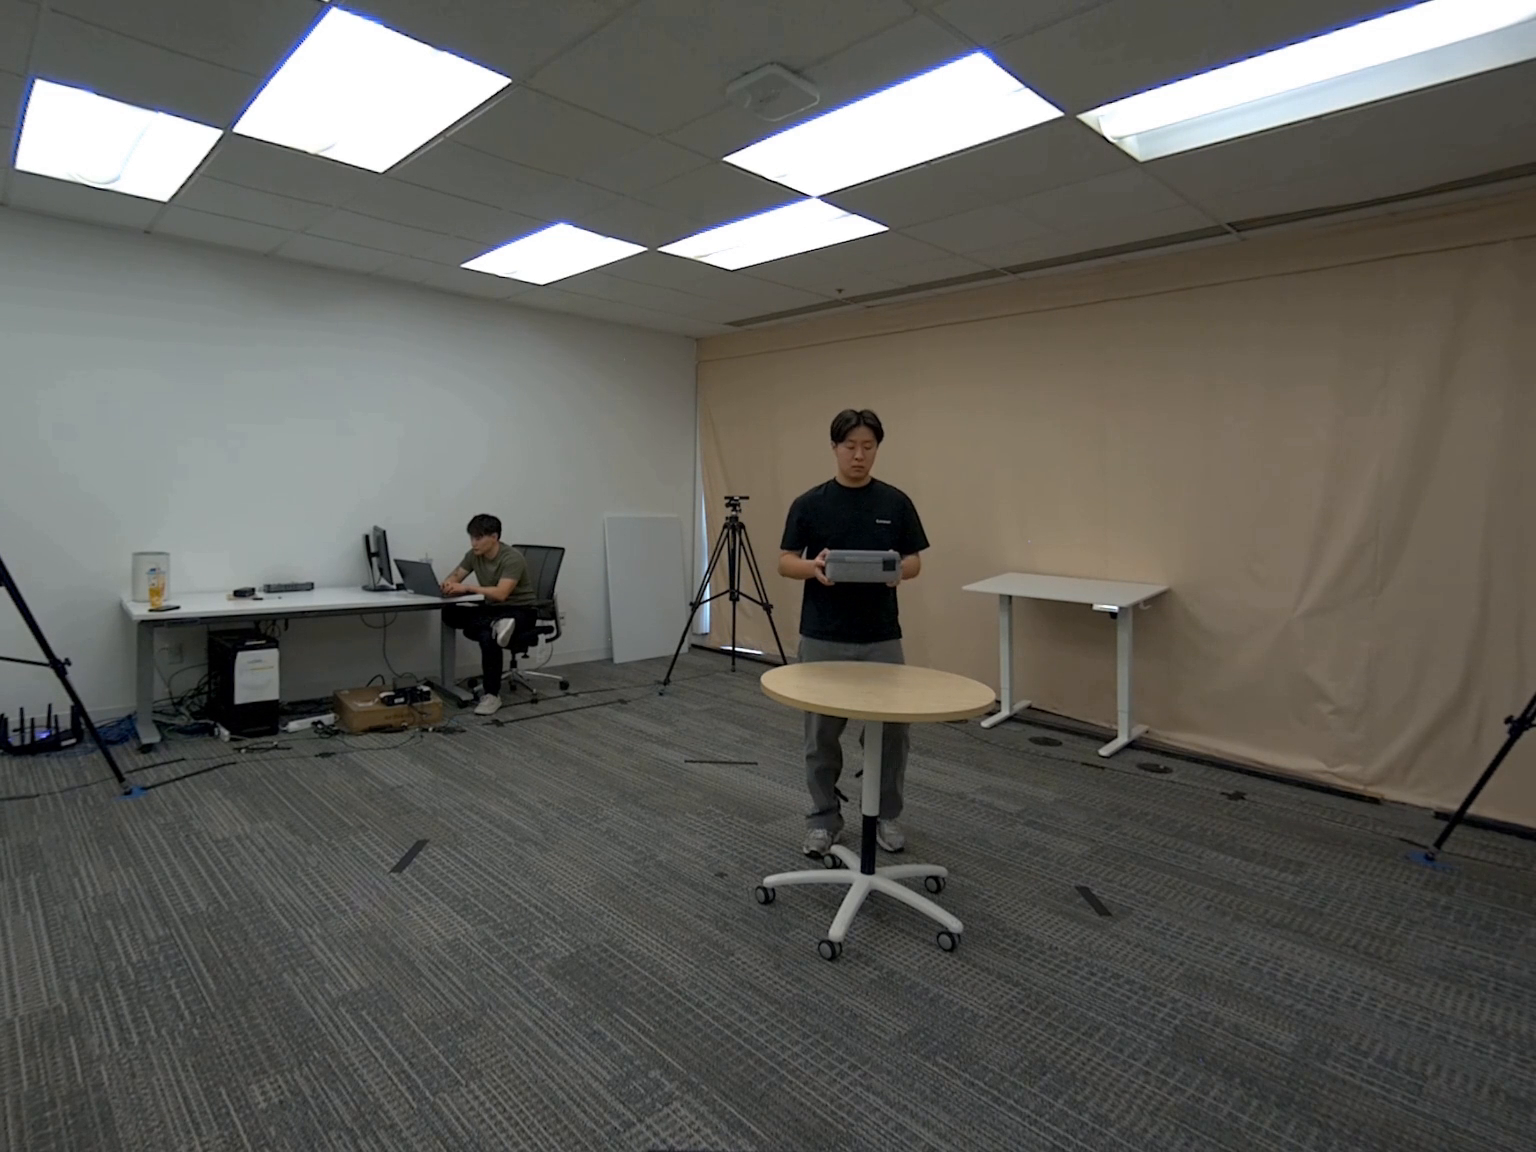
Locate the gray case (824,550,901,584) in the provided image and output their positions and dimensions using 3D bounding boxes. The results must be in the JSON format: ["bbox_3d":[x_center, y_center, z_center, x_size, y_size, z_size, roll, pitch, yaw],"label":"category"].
[{"bbox_3d":[0.339,-0.037,3.030,0.266,0.103,0.283,1,-3,14],"label":"gray case"}]
